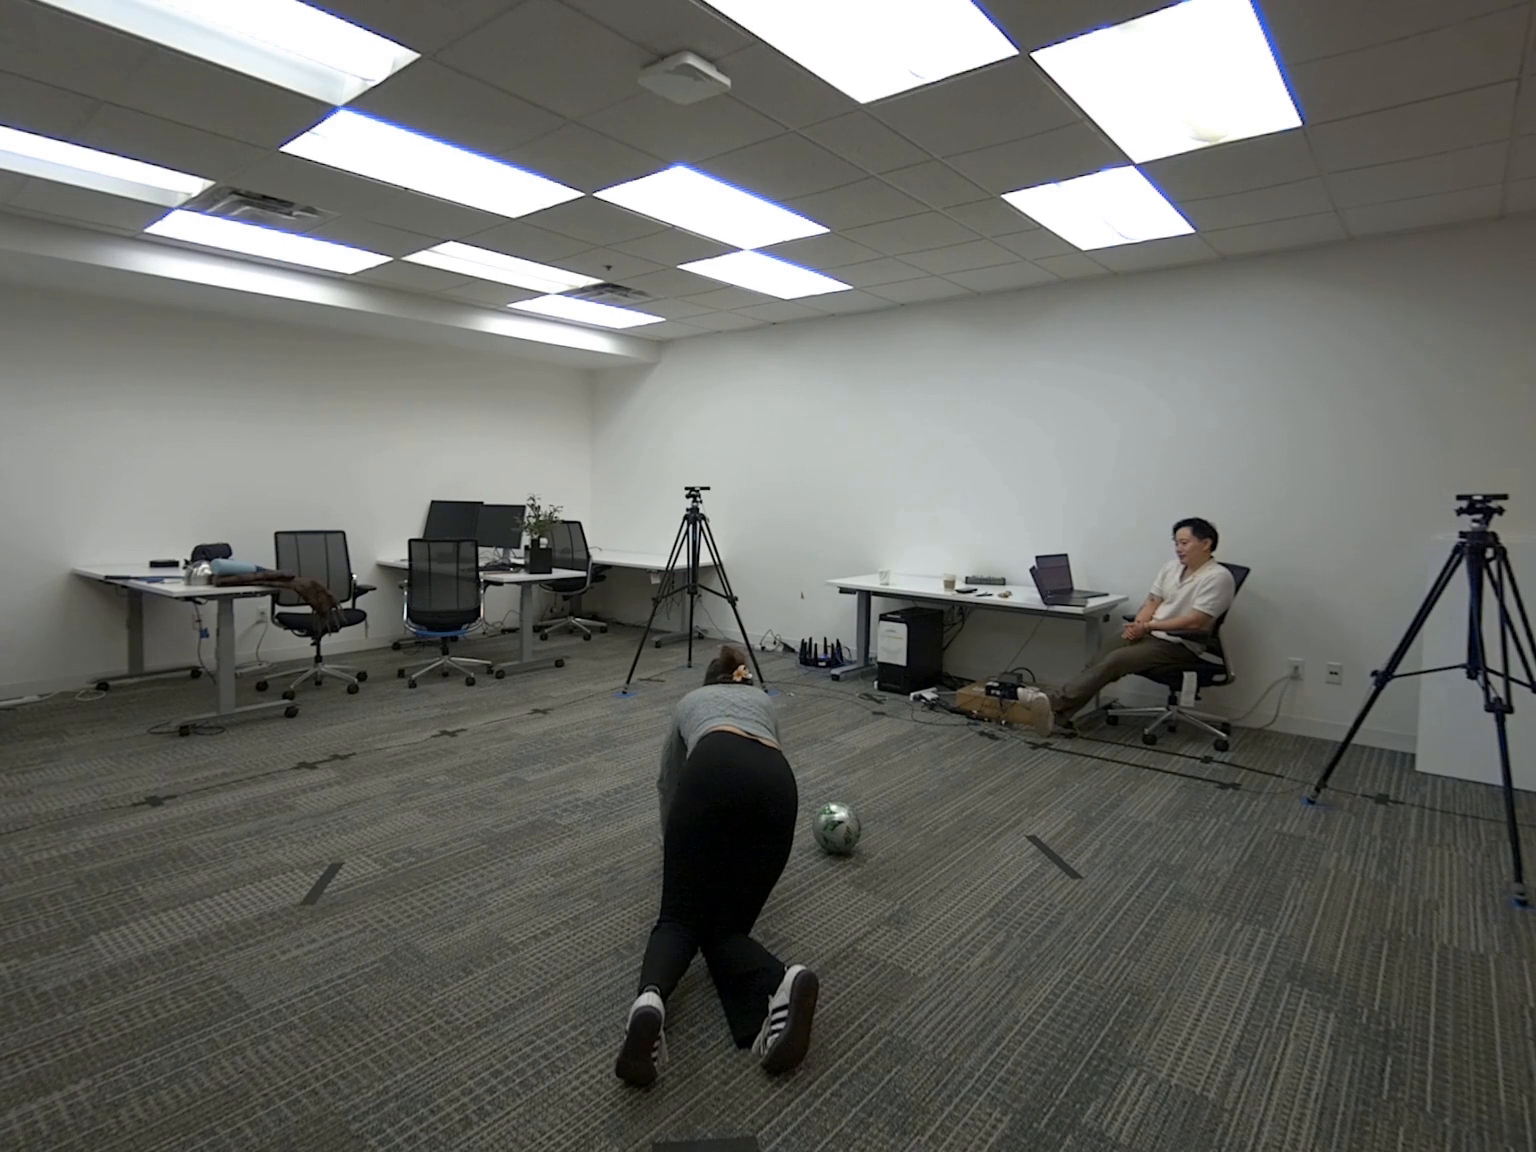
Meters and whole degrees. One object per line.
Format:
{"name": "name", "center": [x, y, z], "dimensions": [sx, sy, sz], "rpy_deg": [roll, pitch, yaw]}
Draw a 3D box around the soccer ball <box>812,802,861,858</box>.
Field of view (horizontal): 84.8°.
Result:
{"name": "soccer ball", "center": [0.257, 0.961, 3.276], "dimensions": [0.187, 0.187, 0.188], "rpy_deg": [1, 4, -2]}
